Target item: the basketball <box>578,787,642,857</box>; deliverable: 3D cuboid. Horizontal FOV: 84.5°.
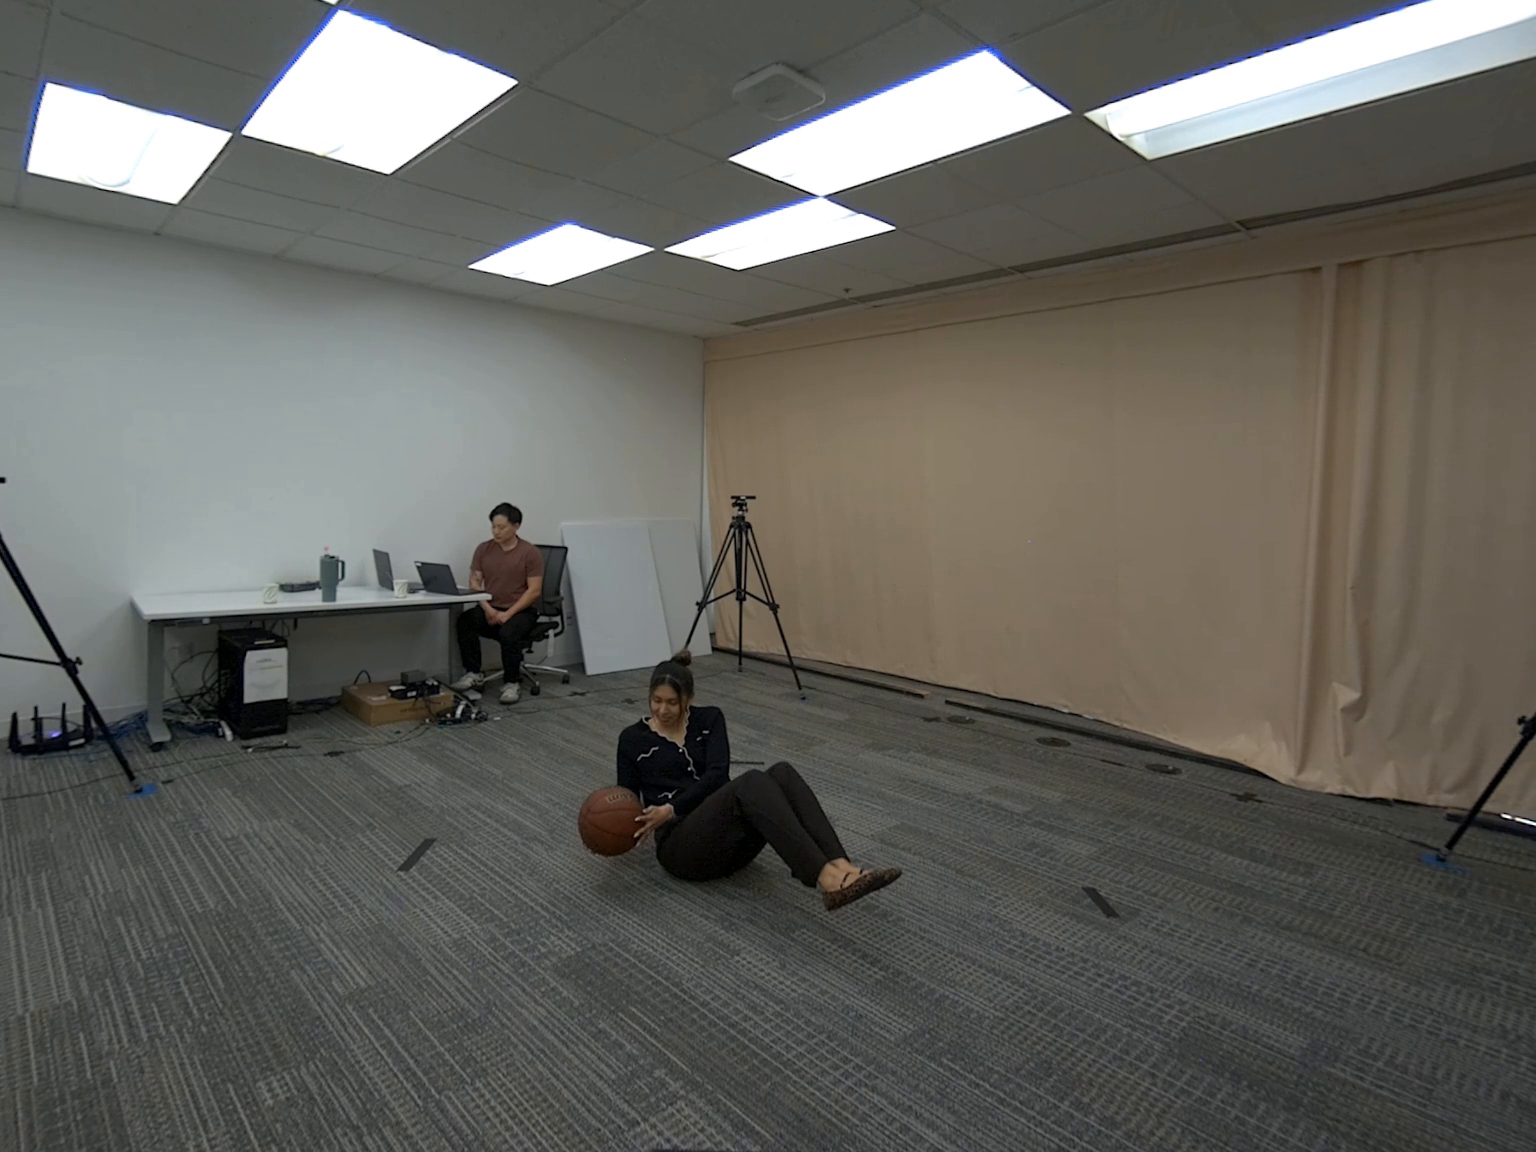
[{"bbox_3d":[-0.553,0.841,2.944,0.236,0.235,0.237,1,4,-1],"label":"basketball"}]
